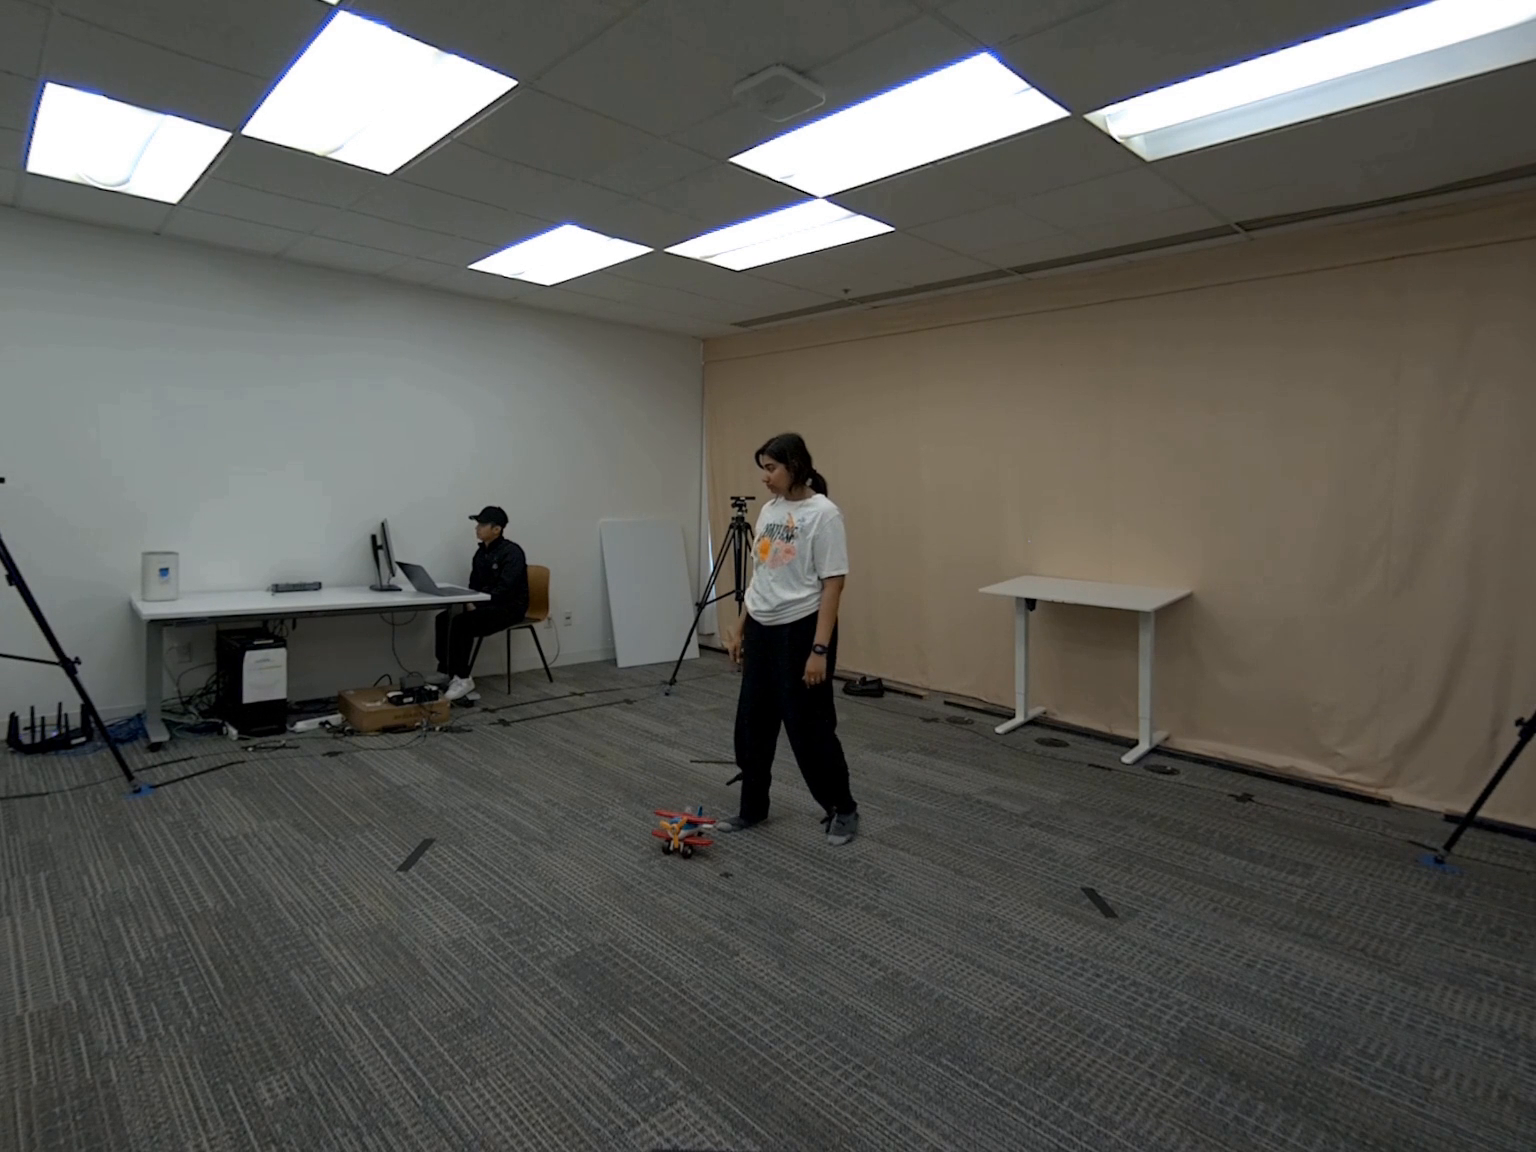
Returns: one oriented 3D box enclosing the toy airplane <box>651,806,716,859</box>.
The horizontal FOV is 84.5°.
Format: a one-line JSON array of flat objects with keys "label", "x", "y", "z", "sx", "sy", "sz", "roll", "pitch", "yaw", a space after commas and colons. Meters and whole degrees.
[{"label": "toy airplane", "x": -0.351, "y": 1.002, "z": 3.342, "sx": 0.250, "sy": 0.156, "sz": 0.261, "roll": 1, "pitch": 5, "yaw": -6}]
